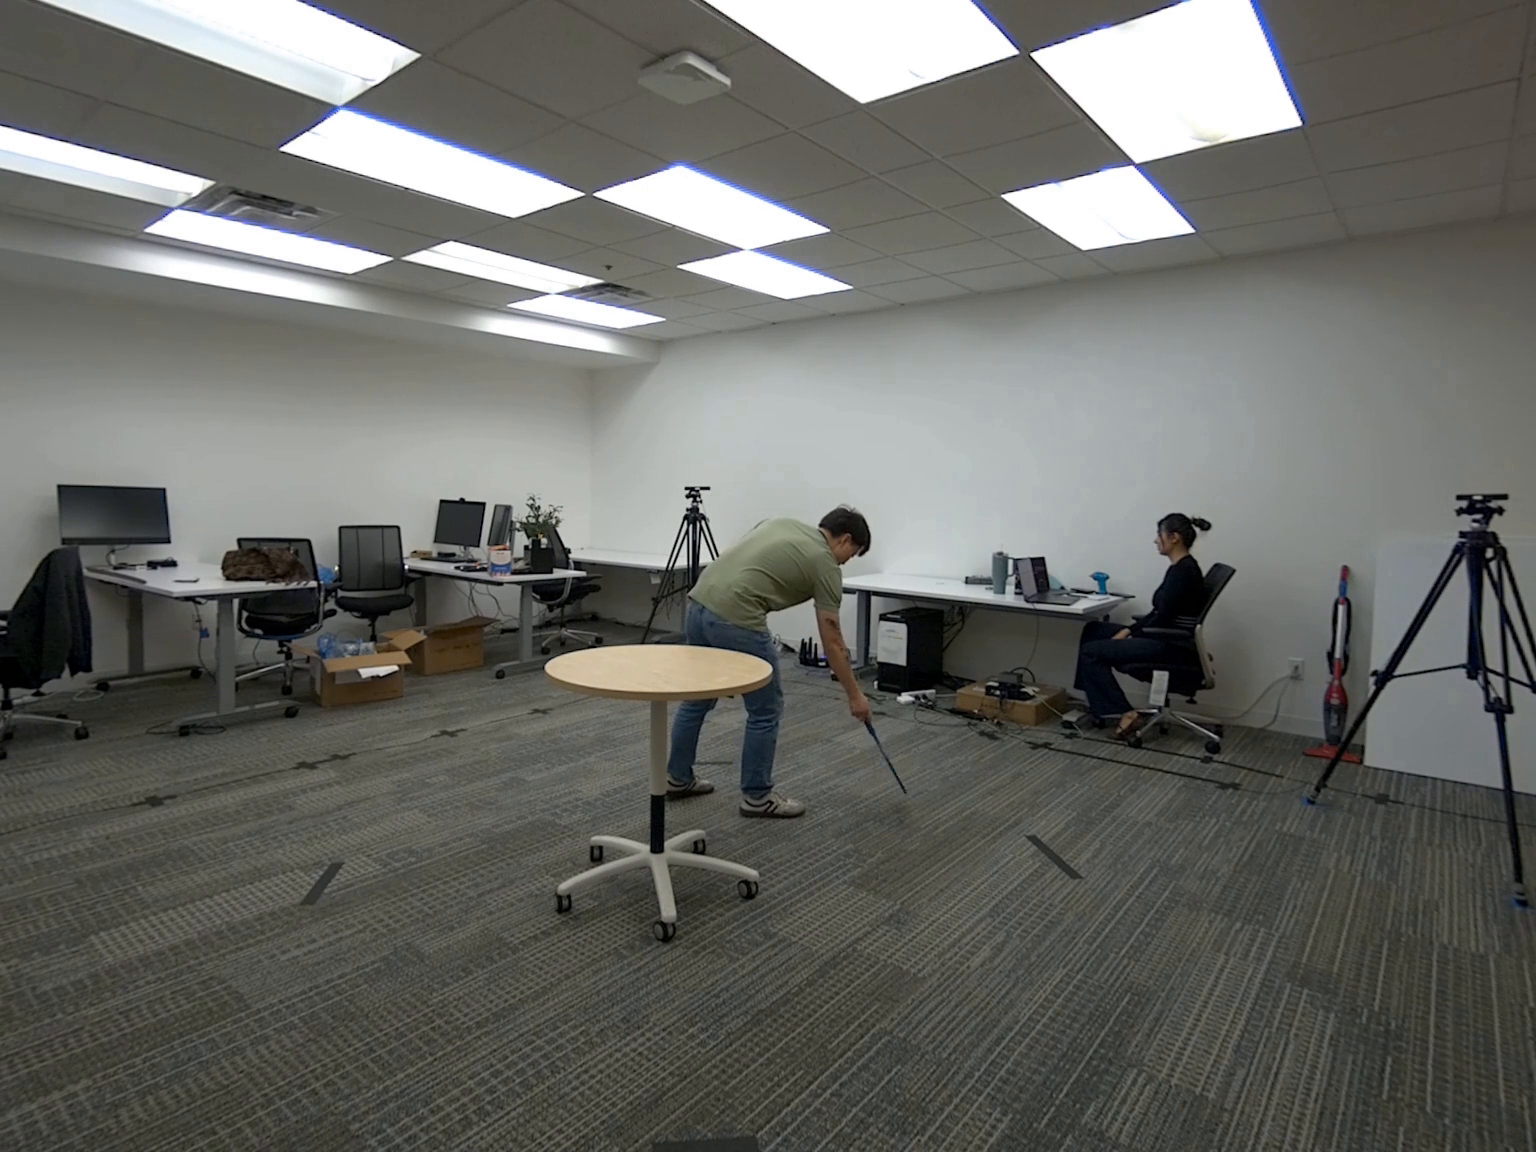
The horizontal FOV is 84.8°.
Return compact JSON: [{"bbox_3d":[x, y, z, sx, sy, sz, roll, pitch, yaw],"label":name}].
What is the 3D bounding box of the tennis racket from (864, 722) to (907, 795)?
[{"bbox_3d":[0.480,0.753,3.701,0.032,0.429,0.214,-21,8,8],"label":"tennis racket"}]
